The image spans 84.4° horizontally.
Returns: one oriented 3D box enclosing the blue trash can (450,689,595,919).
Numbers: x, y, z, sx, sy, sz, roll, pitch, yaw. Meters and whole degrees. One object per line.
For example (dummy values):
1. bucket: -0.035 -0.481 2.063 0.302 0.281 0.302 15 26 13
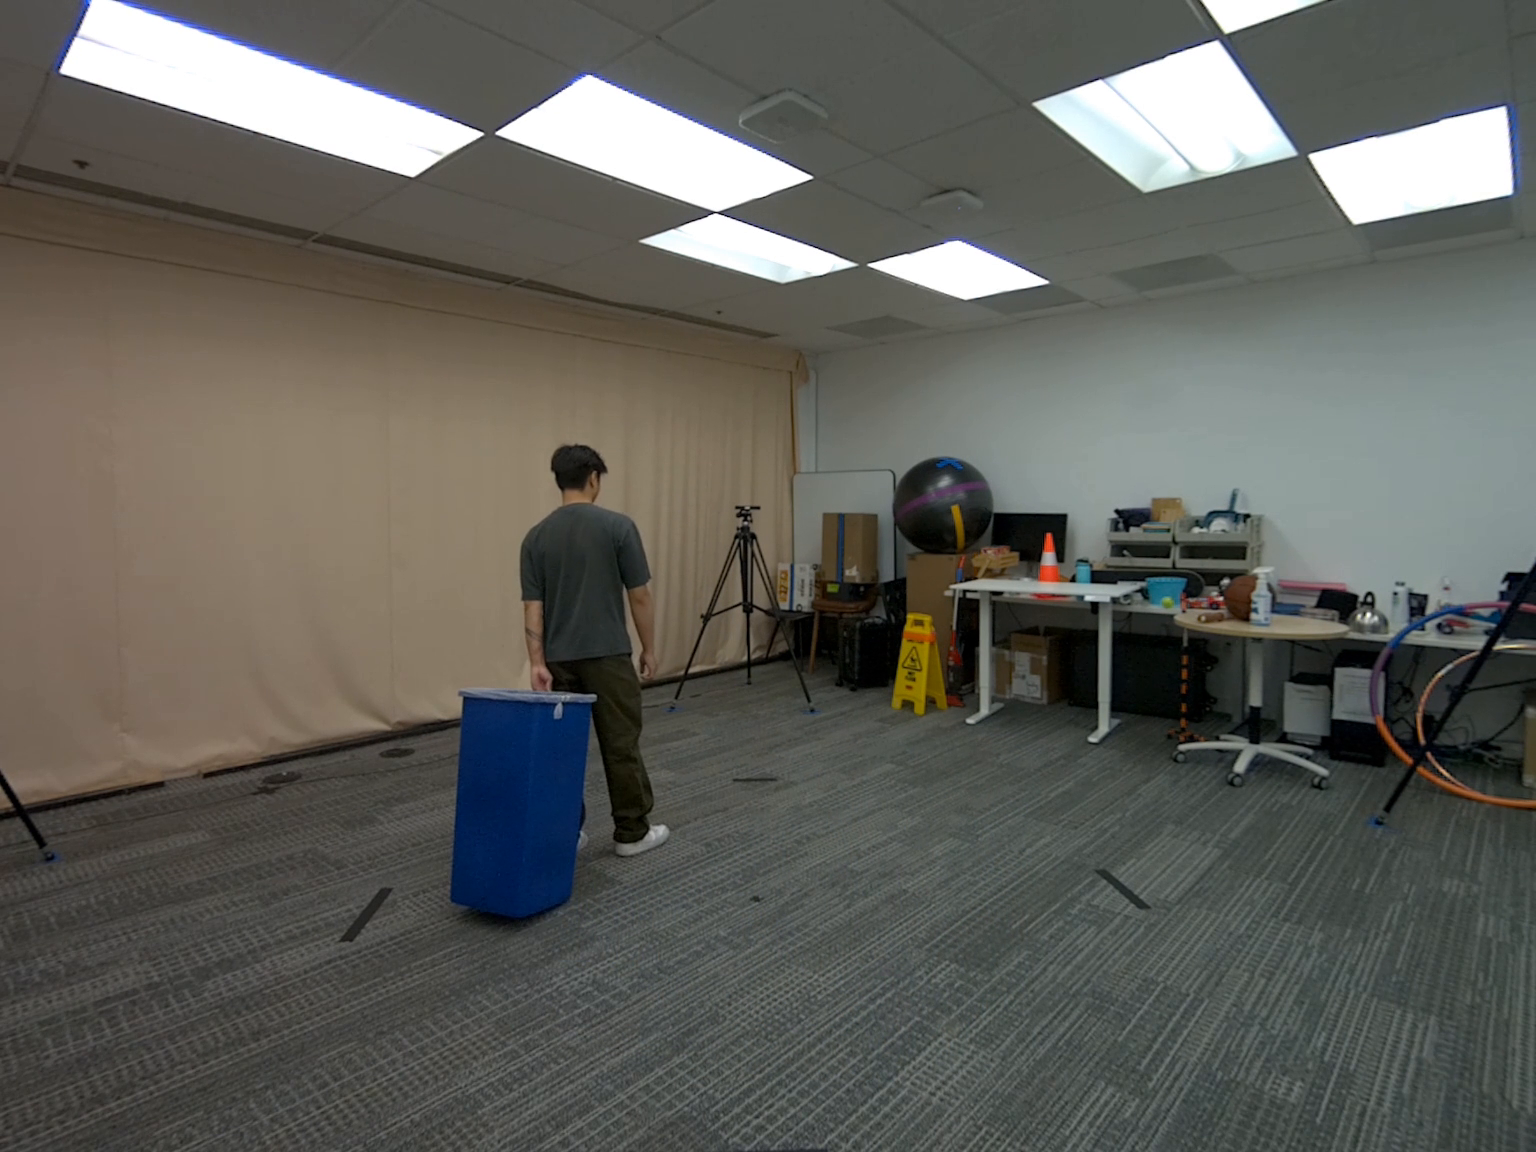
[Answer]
1. blue trash can: -0.873 0.770 2.976 0.383 0.717 0.367 0 -9 23
